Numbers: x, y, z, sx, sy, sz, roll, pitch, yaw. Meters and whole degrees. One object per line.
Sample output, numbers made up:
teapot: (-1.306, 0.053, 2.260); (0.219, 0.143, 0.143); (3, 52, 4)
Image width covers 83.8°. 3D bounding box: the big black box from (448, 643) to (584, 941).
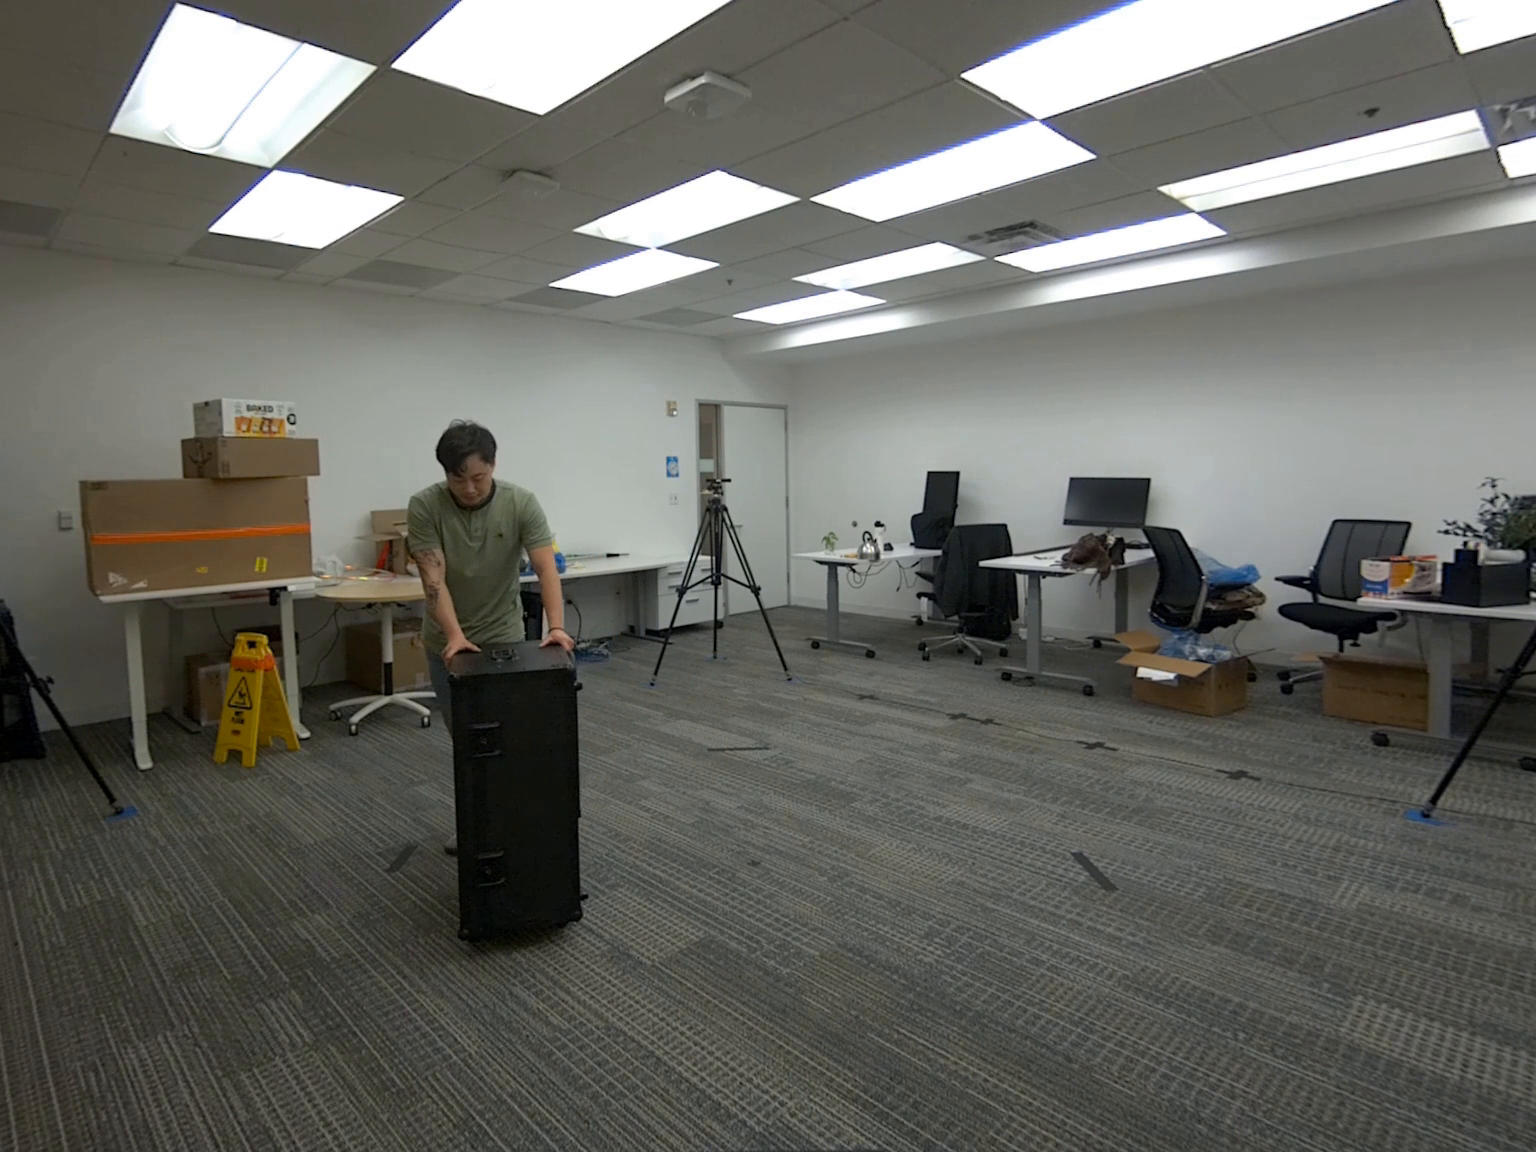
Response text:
big black box: (-0.803, 0.676, 2.751); (0.390, 0.859, 0.531); (-1, 4, -18)
